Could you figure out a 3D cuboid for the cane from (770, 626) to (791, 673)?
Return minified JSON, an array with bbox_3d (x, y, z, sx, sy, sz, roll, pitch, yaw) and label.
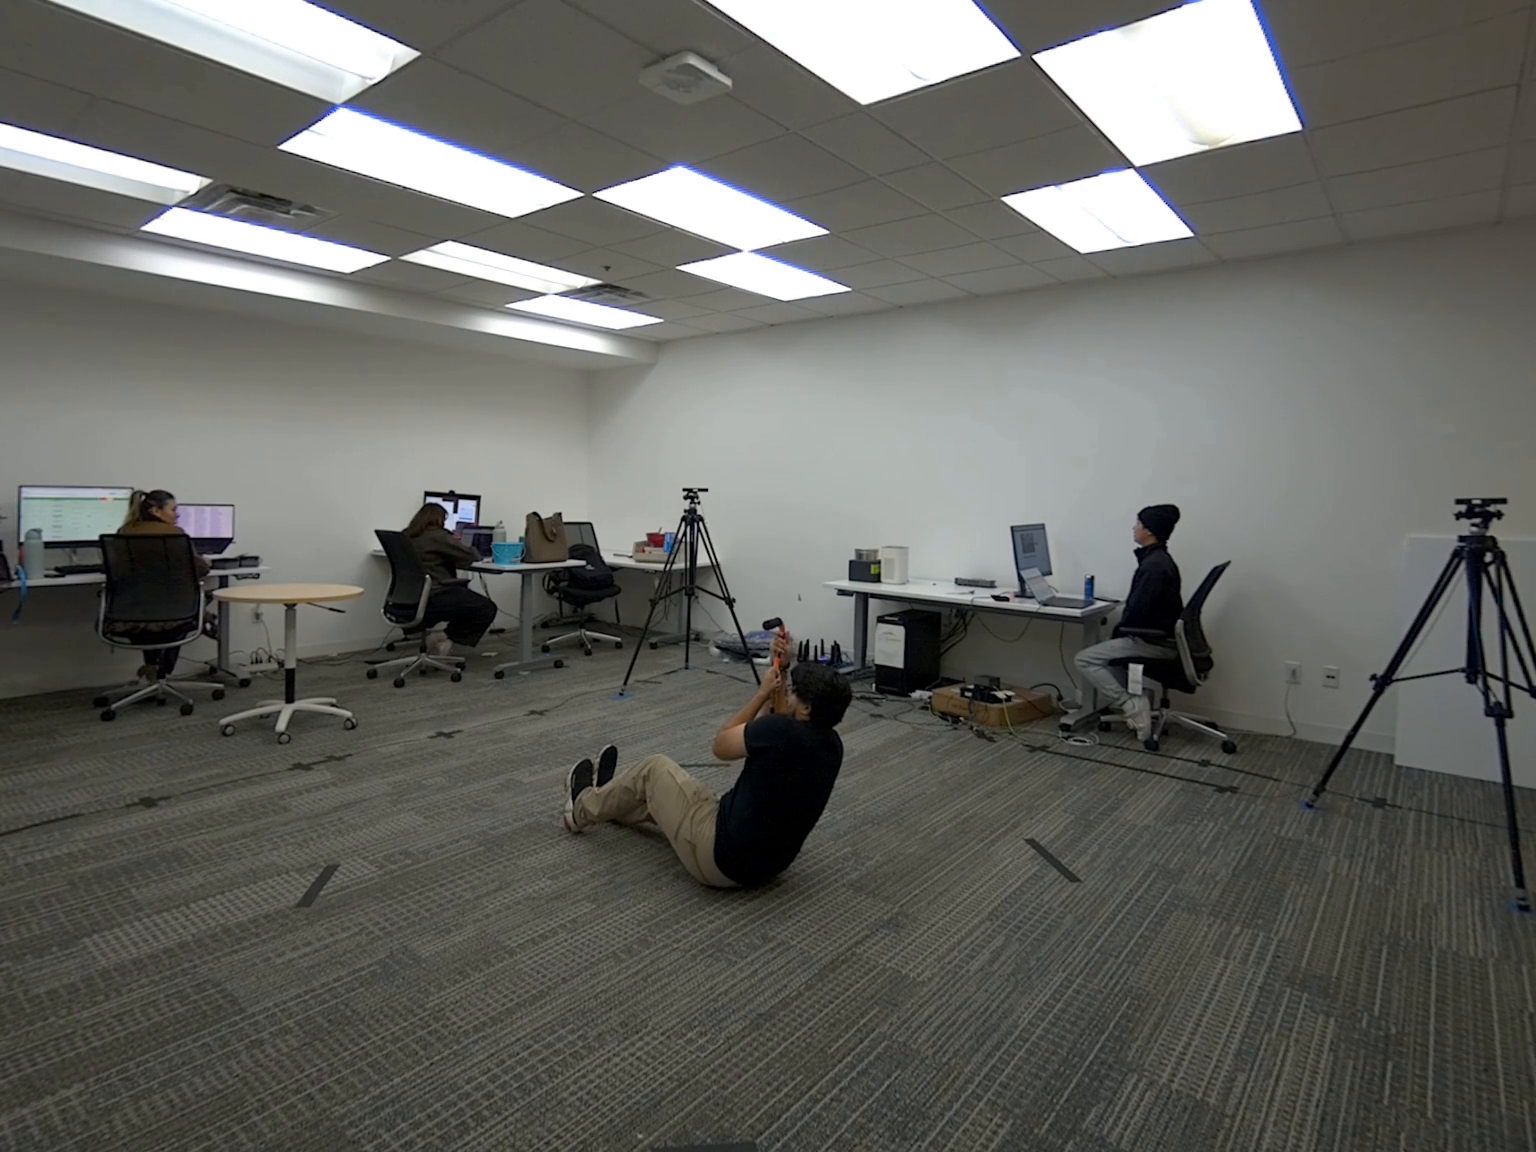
[{"bbox_3d":[0.023,0.609,3.210,0.156,0.905,0.201,3,3,27],"label":"cane"}]
